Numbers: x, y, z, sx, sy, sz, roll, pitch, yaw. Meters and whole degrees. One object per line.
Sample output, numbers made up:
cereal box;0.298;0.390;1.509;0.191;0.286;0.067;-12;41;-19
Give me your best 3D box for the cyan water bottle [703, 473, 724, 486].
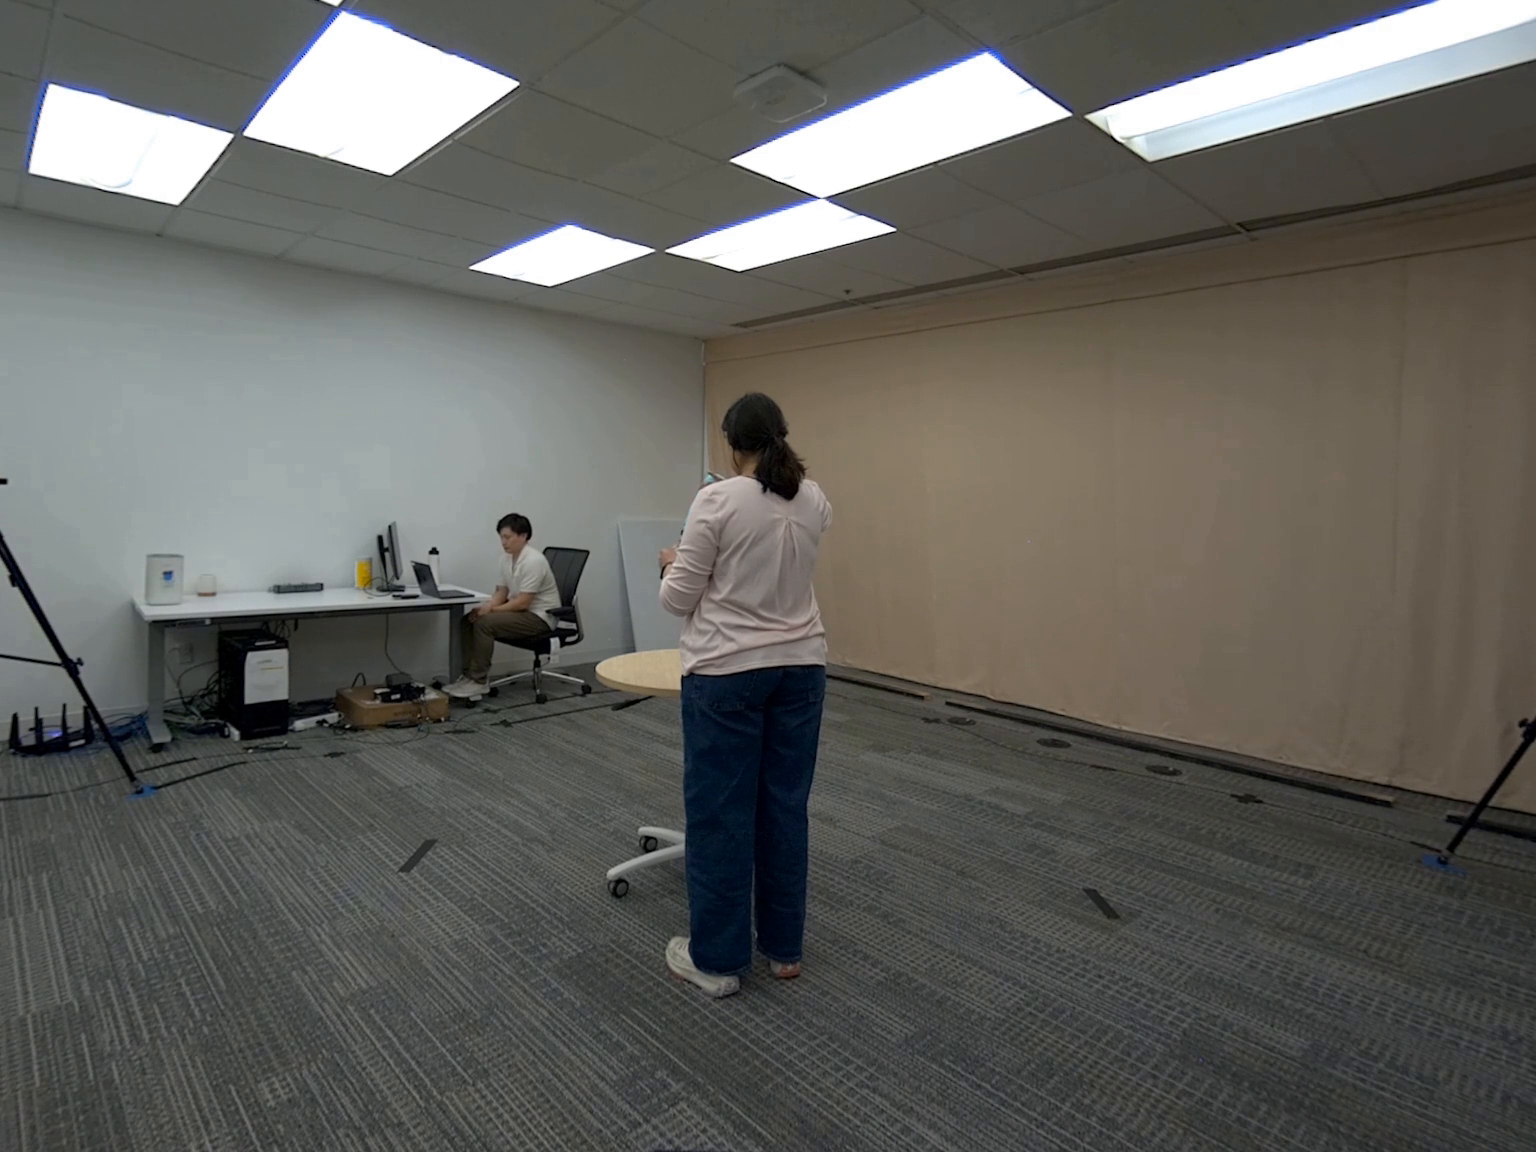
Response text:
cyan water bottle;-0.223;-0.208;2.793;0.093;0.286;0.090;15;-36;10
